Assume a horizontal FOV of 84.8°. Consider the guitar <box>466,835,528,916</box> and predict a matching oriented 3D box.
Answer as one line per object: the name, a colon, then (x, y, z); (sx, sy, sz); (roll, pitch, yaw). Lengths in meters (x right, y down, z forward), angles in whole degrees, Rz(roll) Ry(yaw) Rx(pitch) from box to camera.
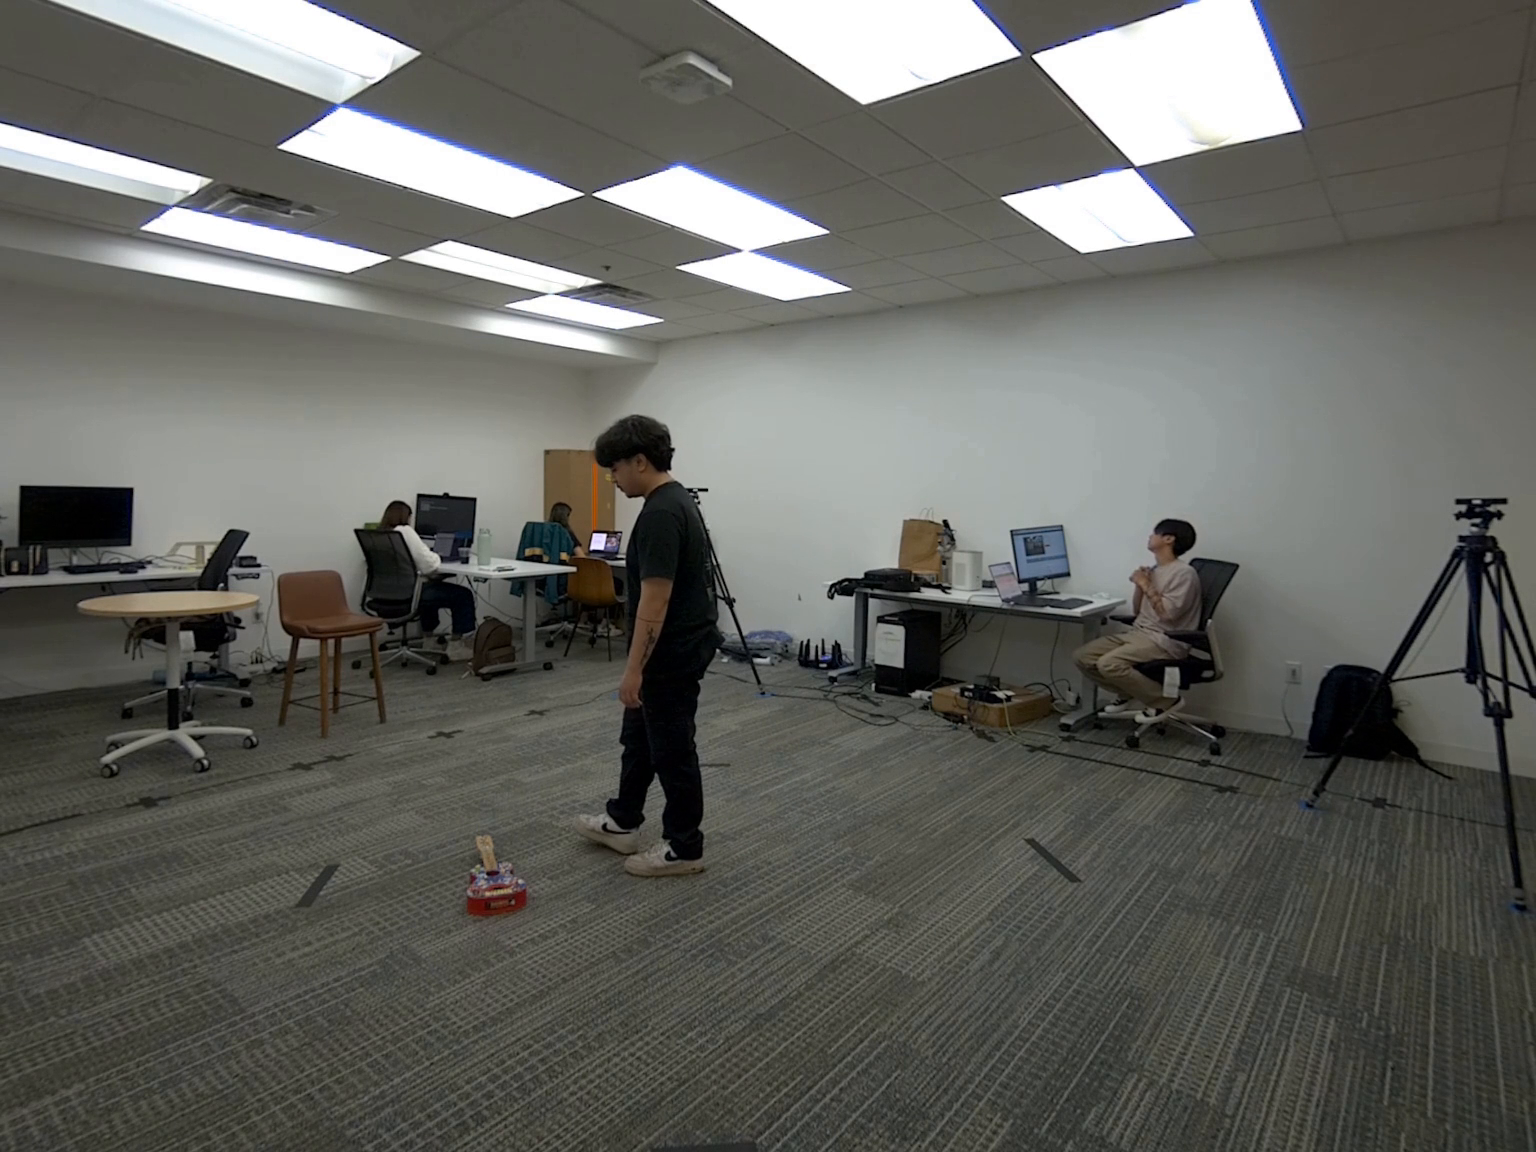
guitar: (-0.961, 1.033, 2.992); (0.190, 0.070, 0.508); (-2, 7, -15)
